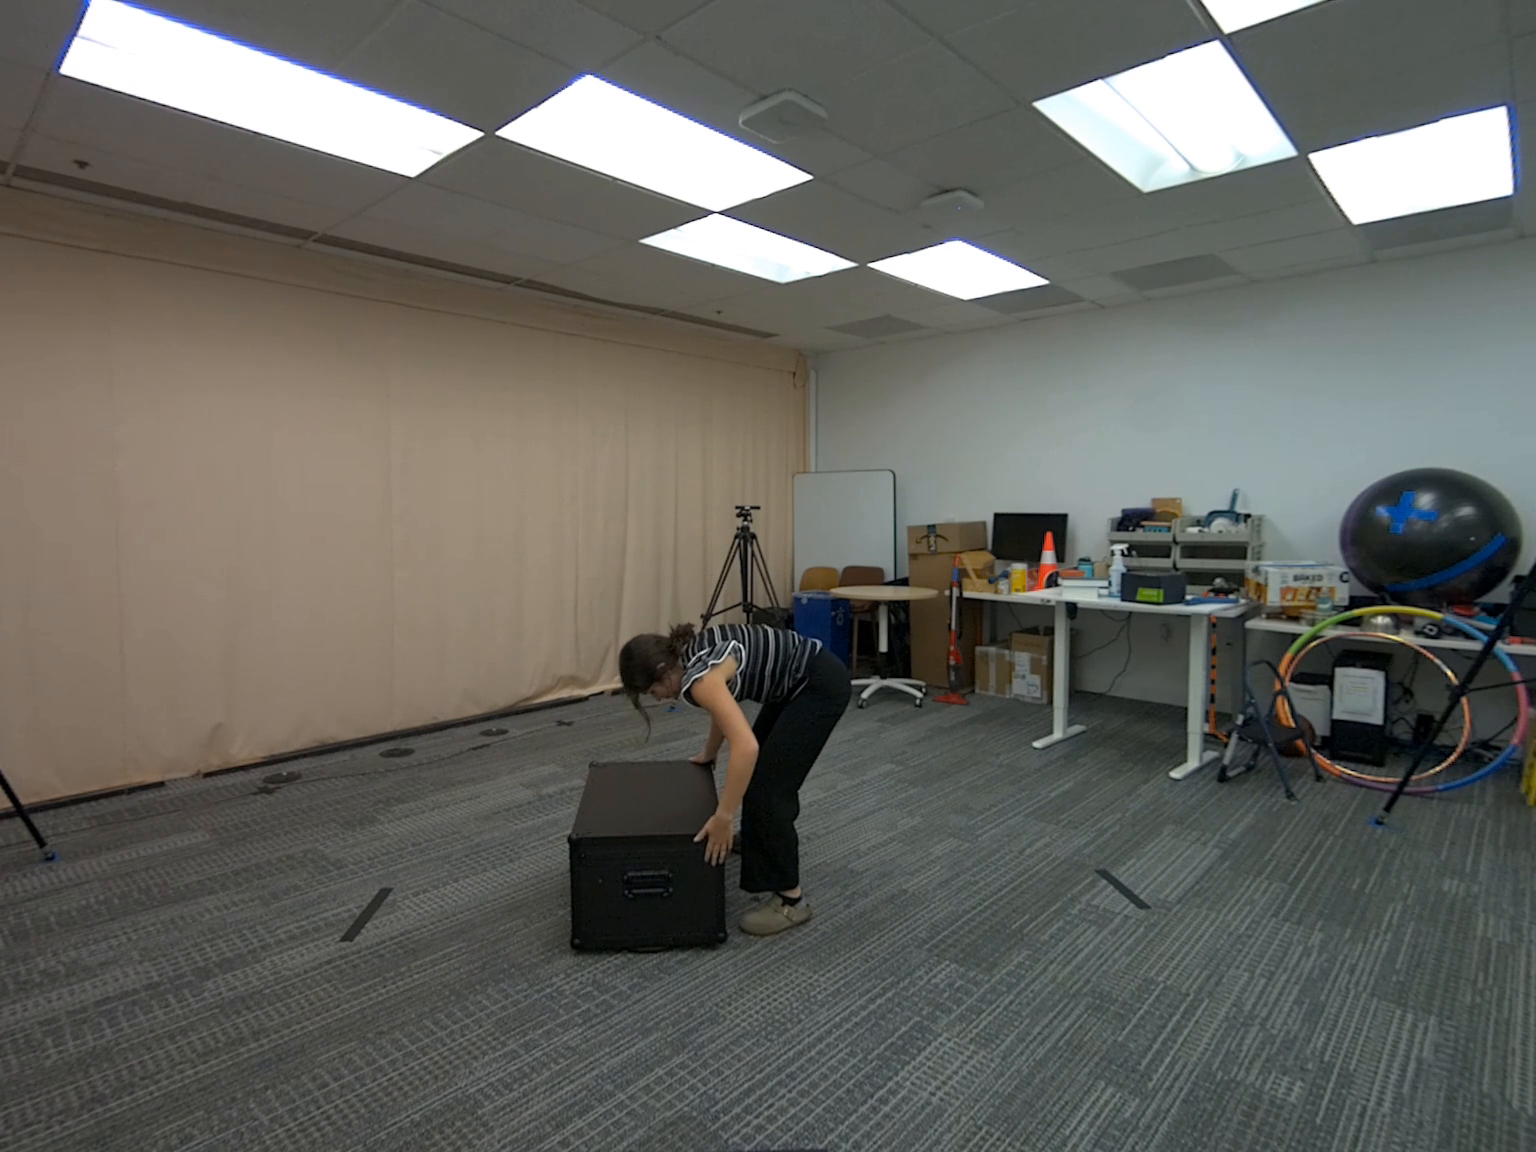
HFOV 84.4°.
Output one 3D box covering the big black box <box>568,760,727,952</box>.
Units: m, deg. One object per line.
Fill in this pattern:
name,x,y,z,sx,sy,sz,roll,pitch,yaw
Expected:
big black box,-0.426,0.950,3.026,0.518,0.395,0.869,-1,5,-6
